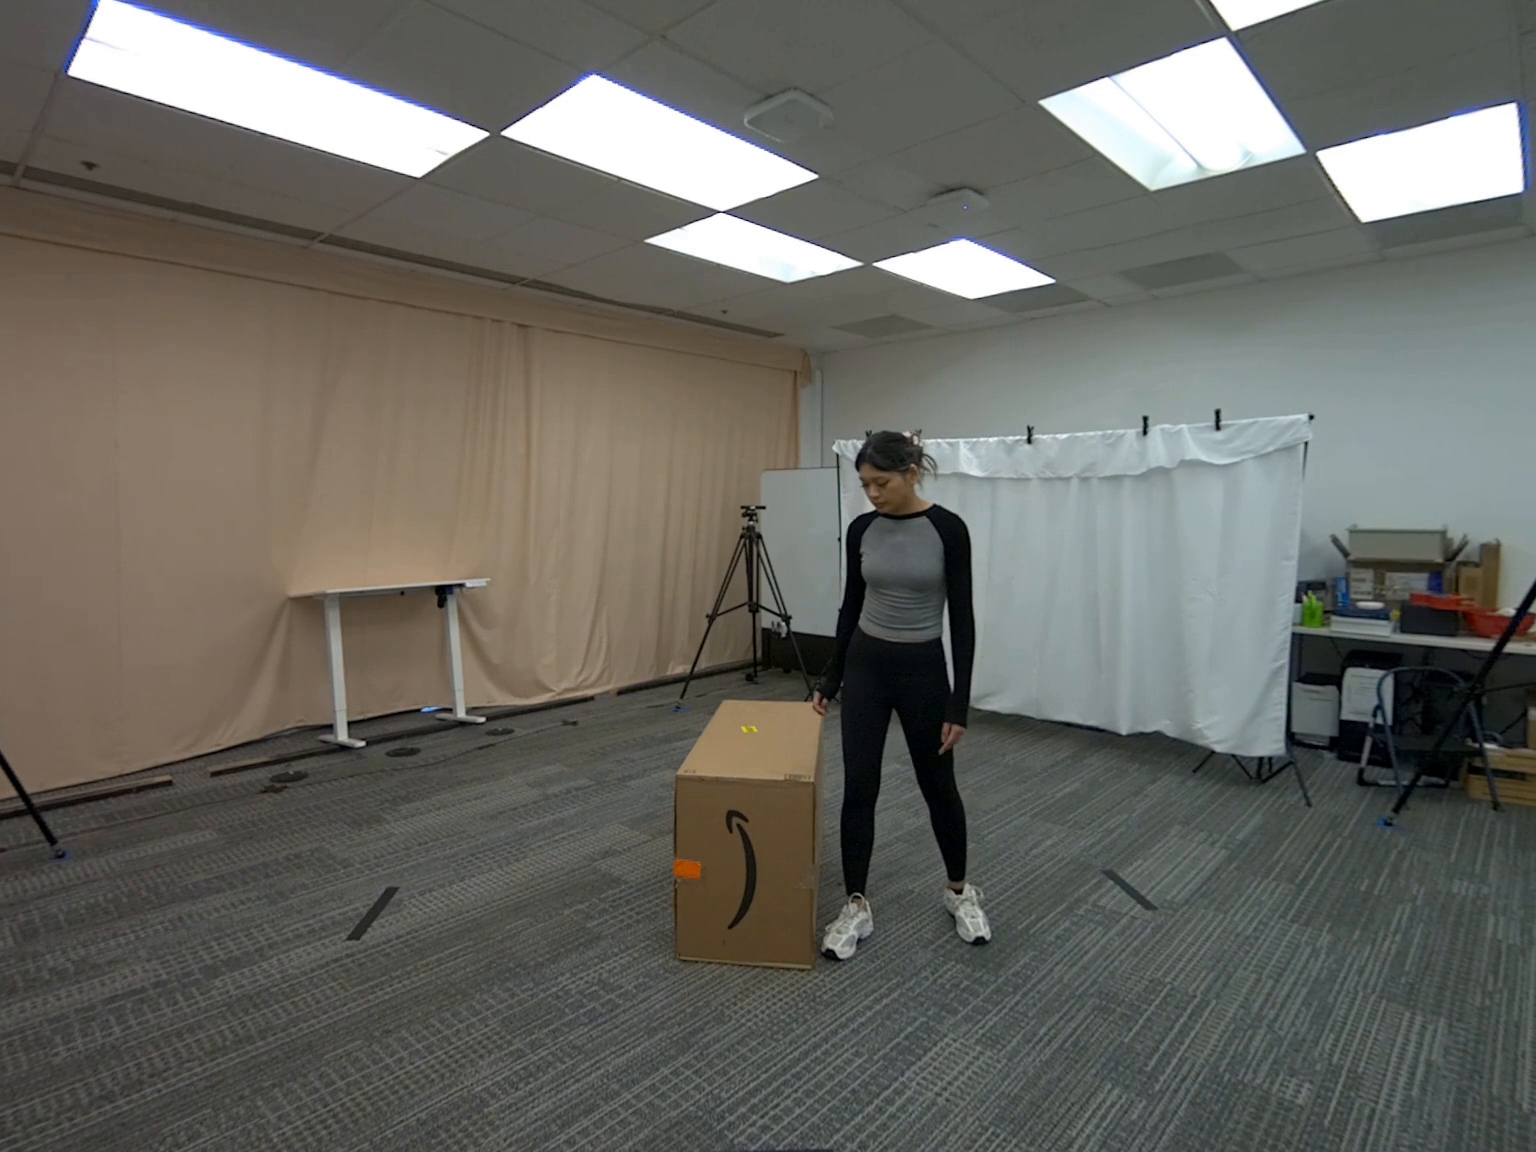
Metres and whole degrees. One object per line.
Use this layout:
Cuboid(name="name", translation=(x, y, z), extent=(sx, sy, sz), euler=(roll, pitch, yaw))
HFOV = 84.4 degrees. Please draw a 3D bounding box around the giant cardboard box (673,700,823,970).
Cuboid(name="giant cardboard box", translation=(-0.027, 0.850, 3.040), extent=(0.429, 0.576, 1.020), euler=(1, 4, 6))
